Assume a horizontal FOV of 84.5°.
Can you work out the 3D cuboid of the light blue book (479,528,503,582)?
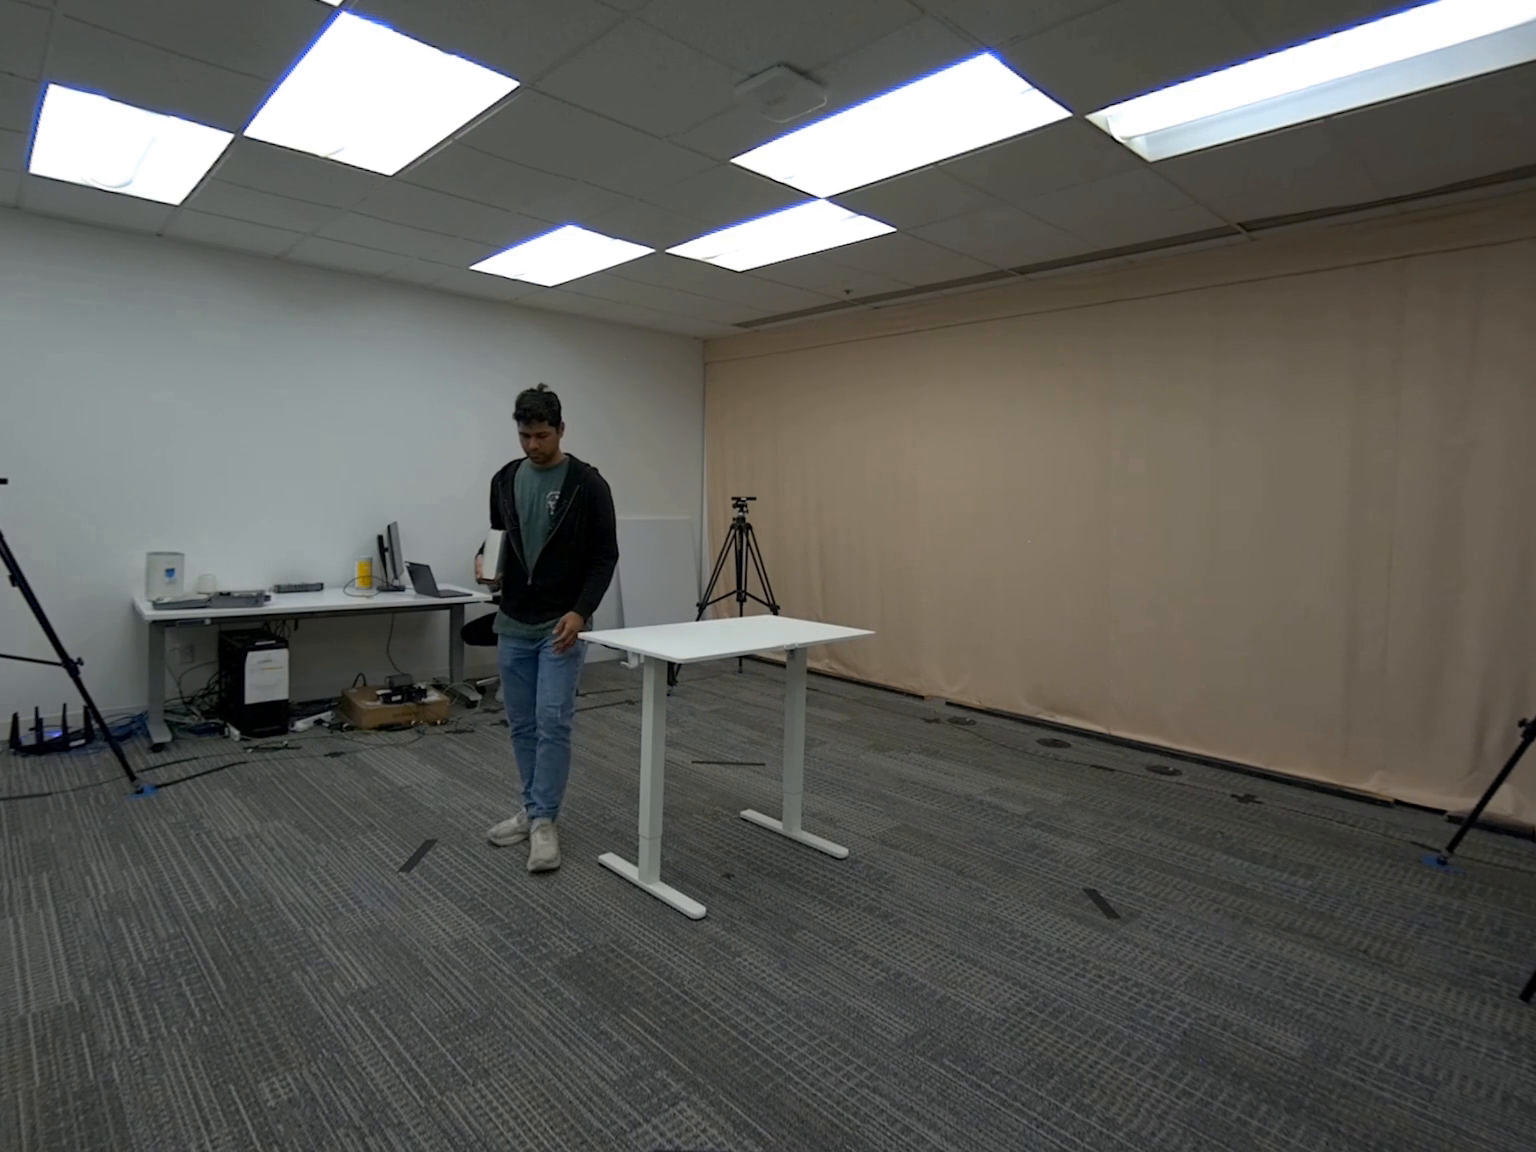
[{"bbox_3d":[-1.031,-0.080,3.288,0.059,0.191,0.260,9,0,1],"label":"light blue book"}]
